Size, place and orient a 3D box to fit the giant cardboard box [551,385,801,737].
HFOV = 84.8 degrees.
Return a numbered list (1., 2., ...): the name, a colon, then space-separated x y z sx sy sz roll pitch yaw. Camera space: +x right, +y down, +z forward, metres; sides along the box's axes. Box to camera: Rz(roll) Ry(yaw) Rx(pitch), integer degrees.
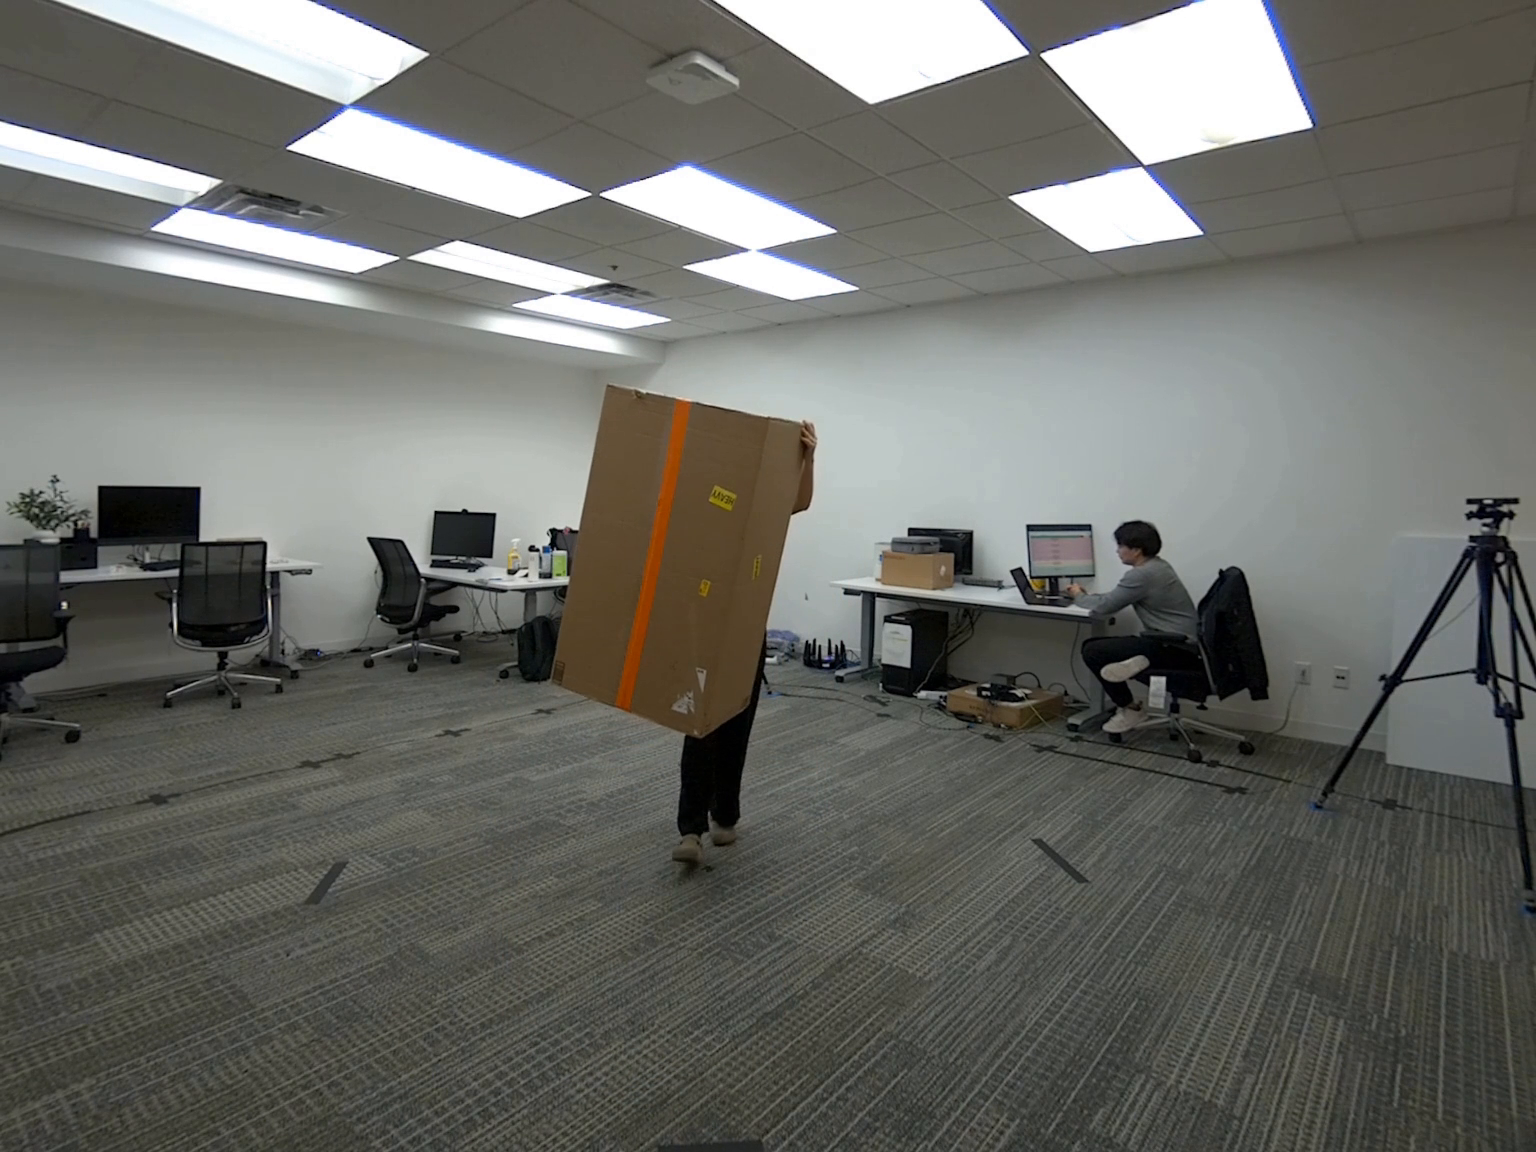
1. giant cardboard box: -0.306 -0.074 2.875 0.593 1.019 0.418 15 9 21
